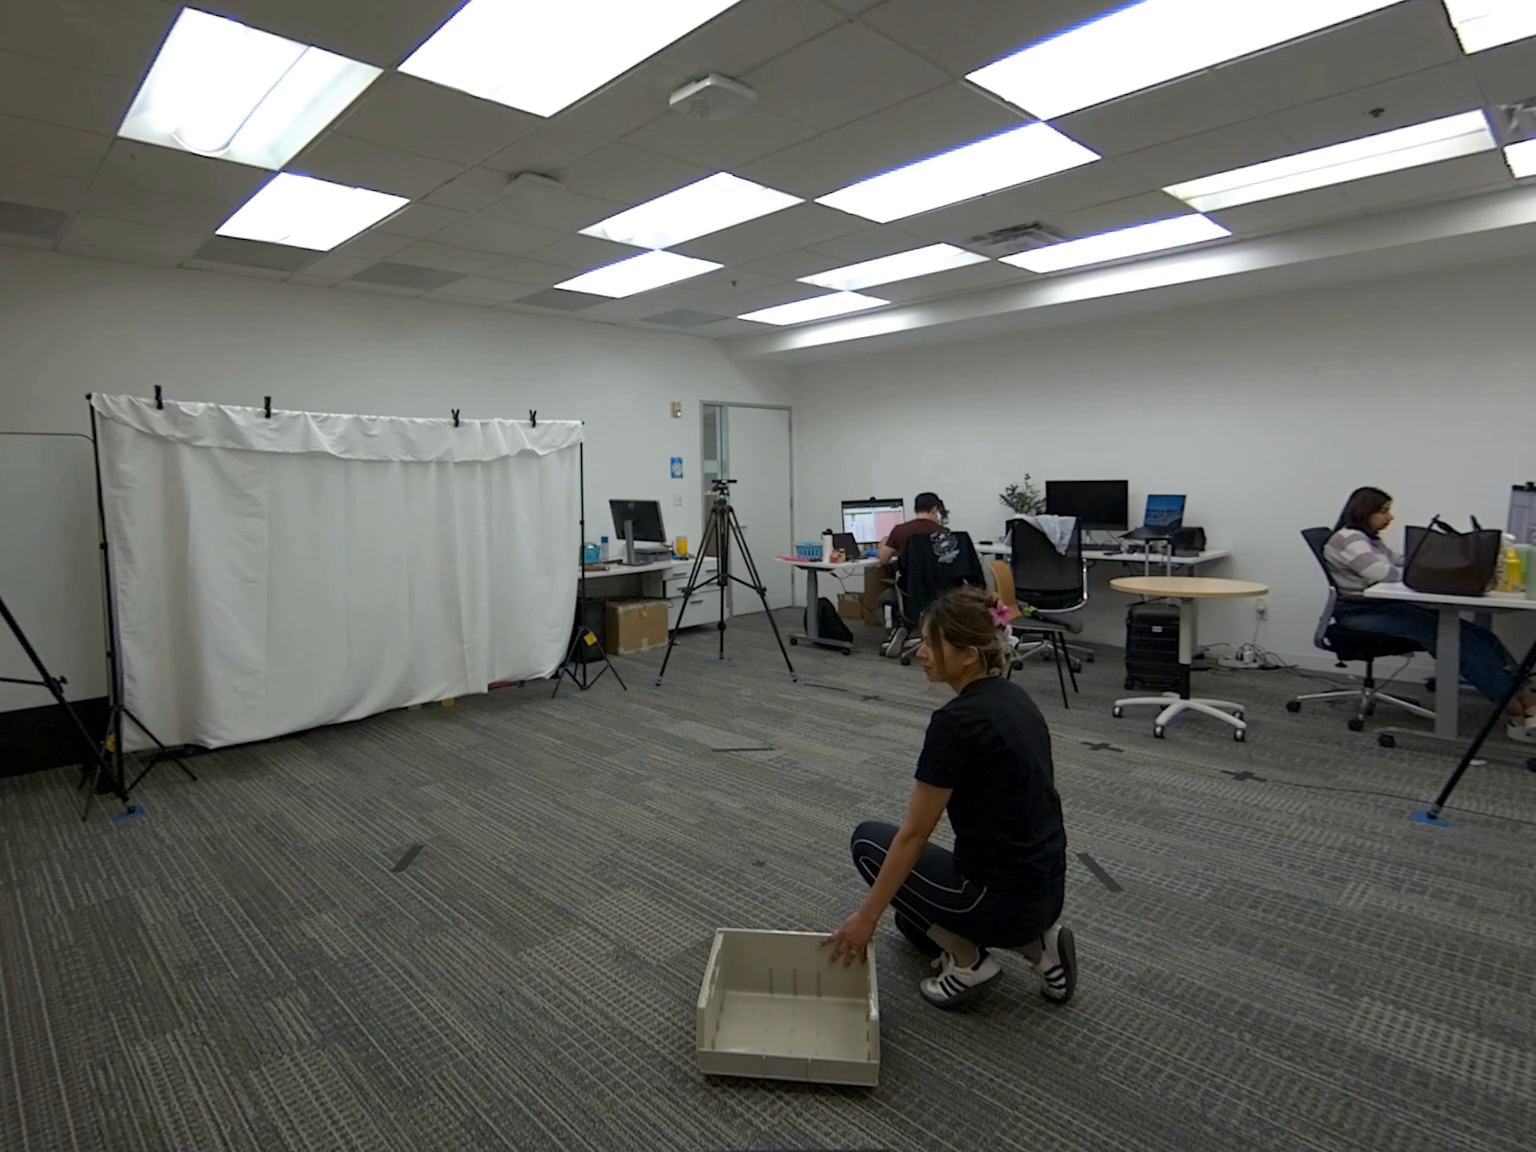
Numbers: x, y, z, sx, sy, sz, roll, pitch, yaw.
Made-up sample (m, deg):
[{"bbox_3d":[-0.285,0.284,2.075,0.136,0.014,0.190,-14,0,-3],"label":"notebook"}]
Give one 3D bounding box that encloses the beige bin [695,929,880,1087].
[{"bbox_3d":[0.066,1.077,2.110,0.425,0.188,0.376,-1,5,6],"label":"beige bin"}]
